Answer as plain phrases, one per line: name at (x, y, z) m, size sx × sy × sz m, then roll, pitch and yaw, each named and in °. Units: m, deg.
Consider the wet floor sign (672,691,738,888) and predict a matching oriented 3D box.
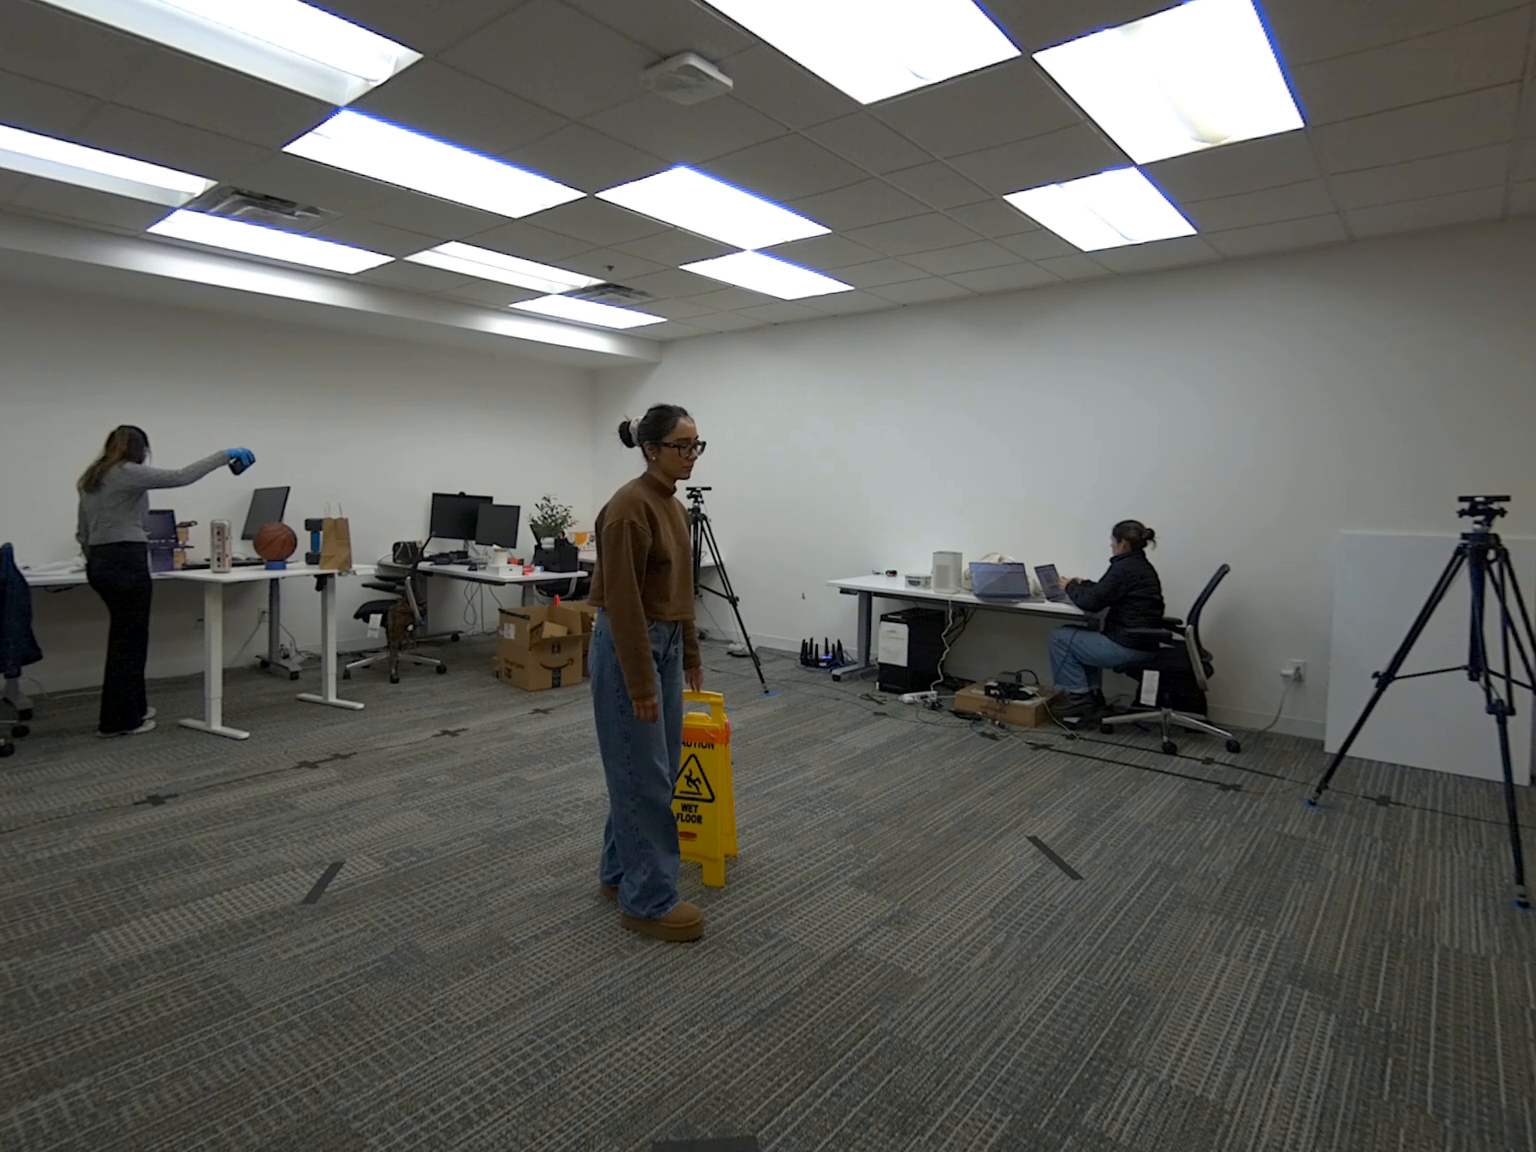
wet floor sign at (-0.277, 0.742, 3.101) m, size 0.285 × 0.644 × 0.287 m, roll 1°, pitch 4°, yaw 10°
